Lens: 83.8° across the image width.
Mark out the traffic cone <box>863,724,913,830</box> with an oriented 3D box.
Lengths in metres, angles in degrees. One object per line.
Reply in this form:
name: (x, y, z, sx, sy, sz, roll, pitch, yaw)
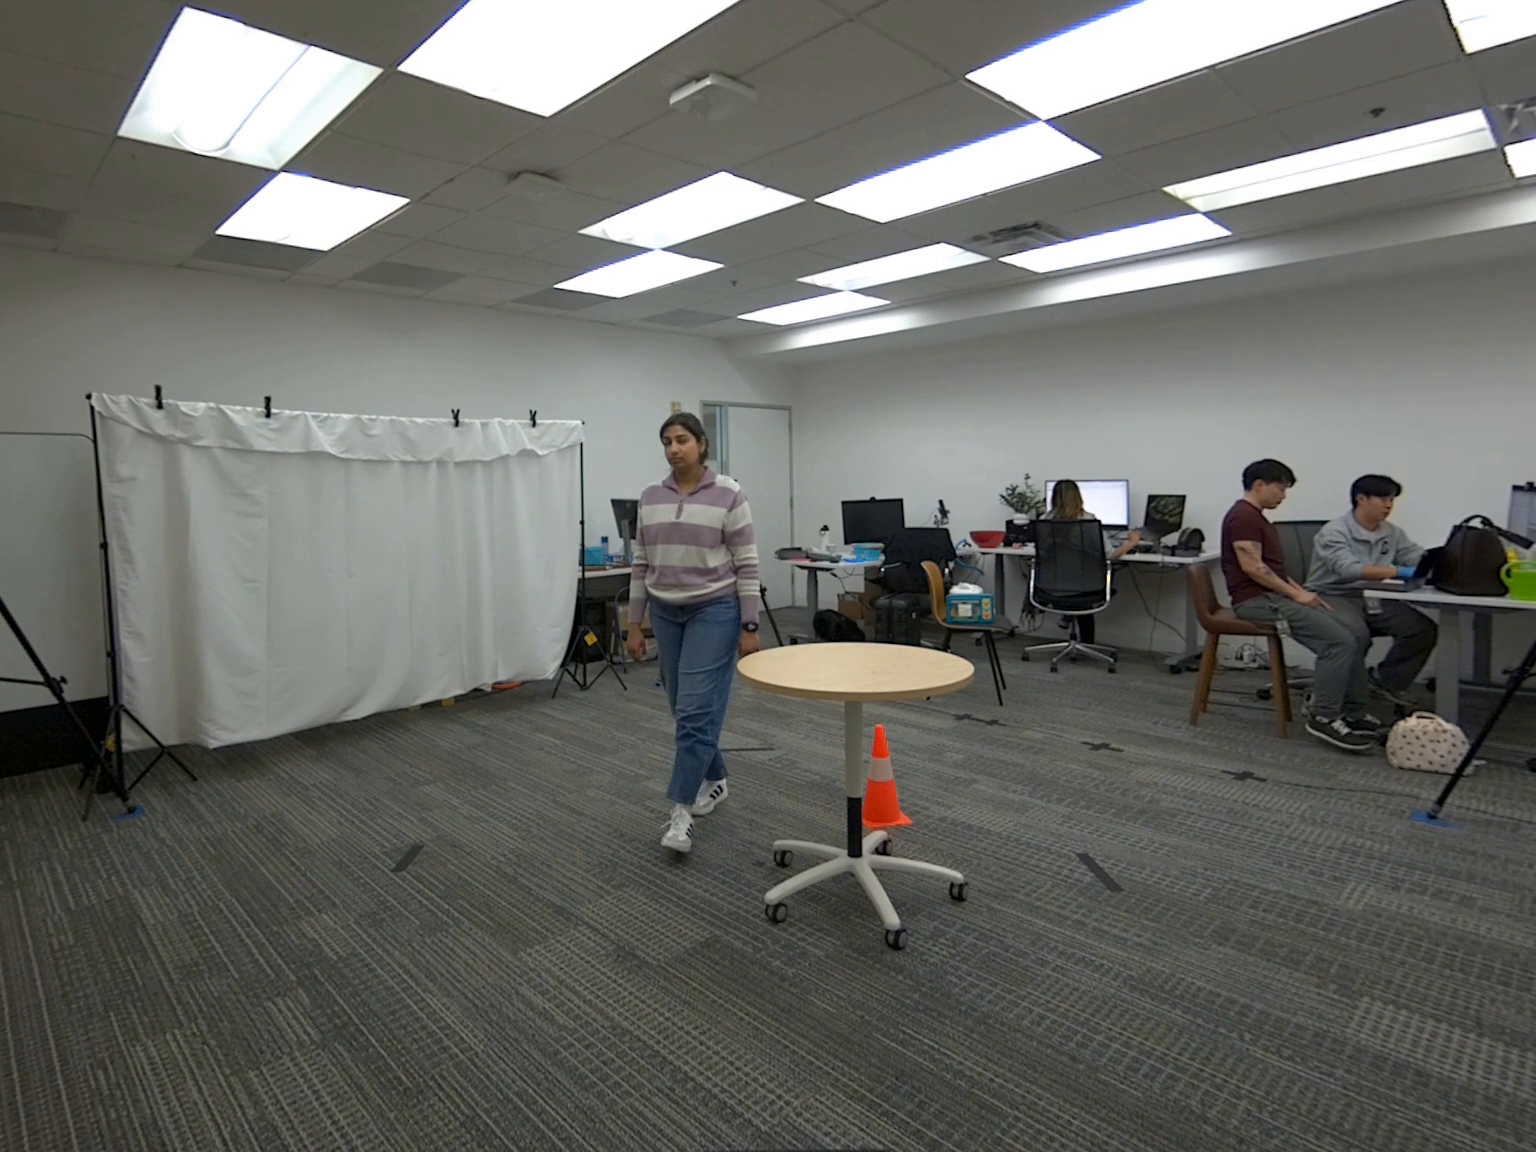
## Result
traffic cone: (0.462, 0.815, 3.512, 0.202, 0.382, 0.207, -1, 5, -15)
